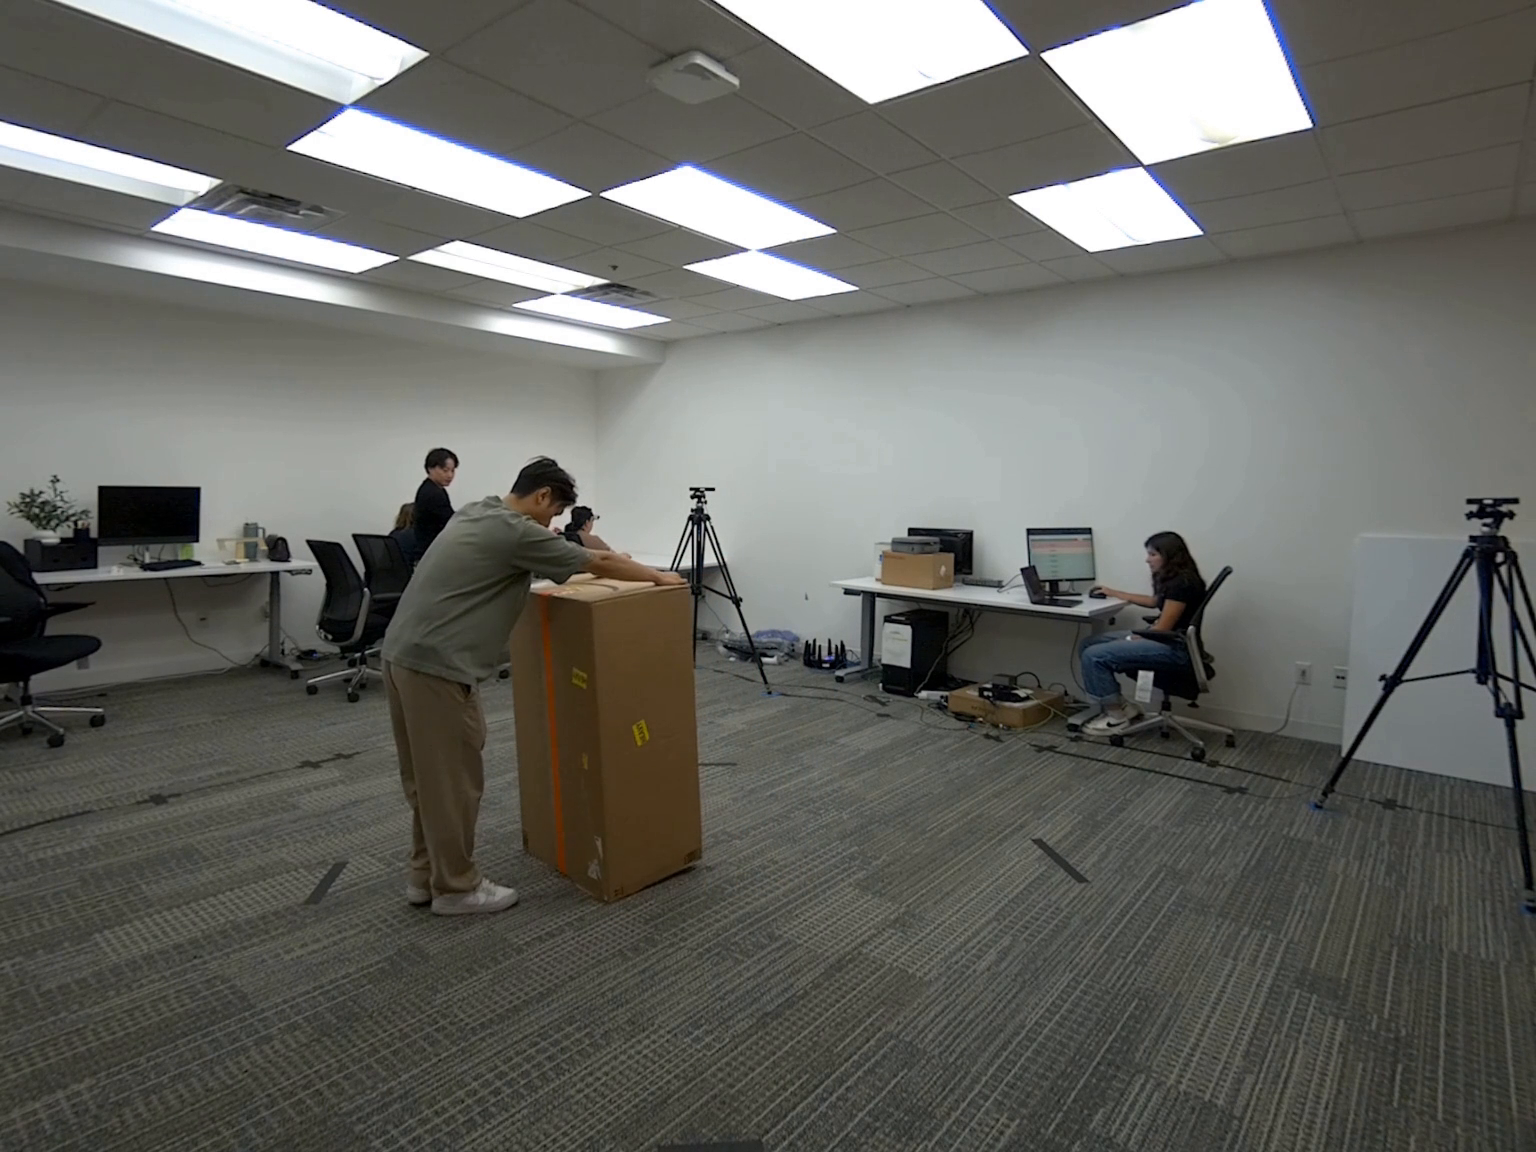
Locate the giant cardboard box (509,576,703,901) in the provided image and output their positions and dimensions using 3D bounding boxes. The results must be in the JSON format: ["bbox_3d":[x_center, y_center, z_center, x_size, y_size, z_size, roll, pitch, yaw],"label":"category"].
[{"bbox_3d":[-0.612,0.537,3.122,0.414,1.020,0.597,-7,8,-43],"label":"giant cardboard box"}]
